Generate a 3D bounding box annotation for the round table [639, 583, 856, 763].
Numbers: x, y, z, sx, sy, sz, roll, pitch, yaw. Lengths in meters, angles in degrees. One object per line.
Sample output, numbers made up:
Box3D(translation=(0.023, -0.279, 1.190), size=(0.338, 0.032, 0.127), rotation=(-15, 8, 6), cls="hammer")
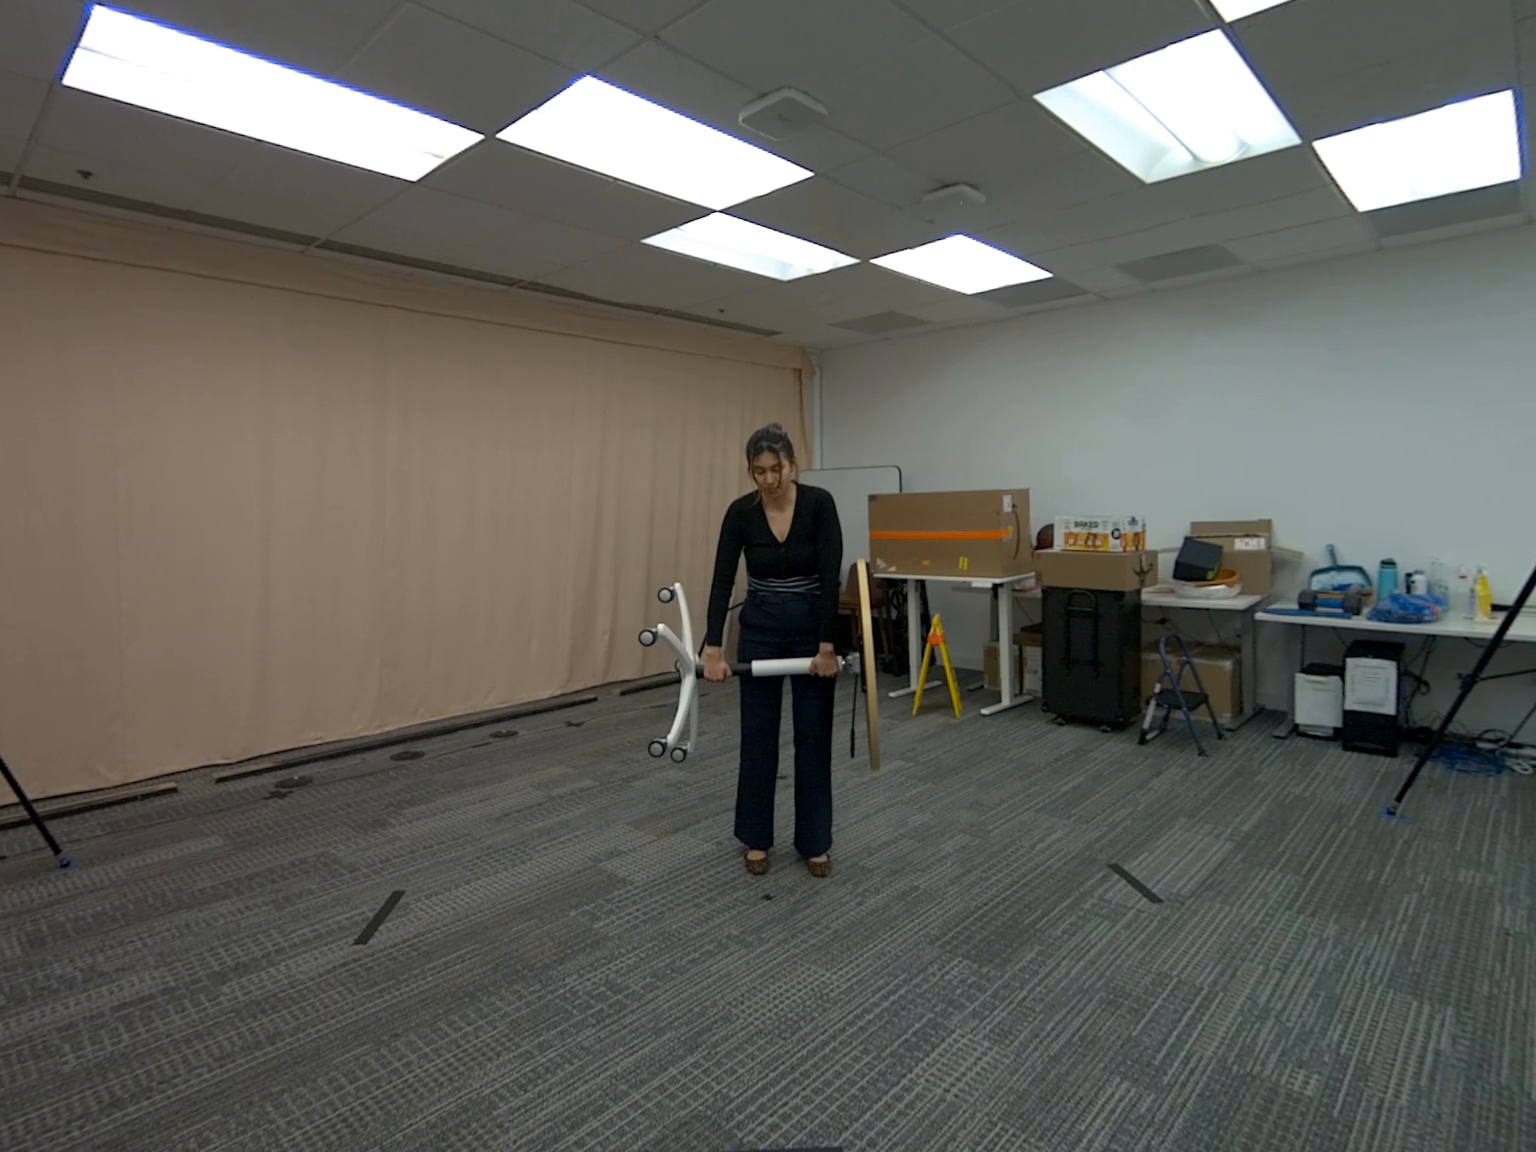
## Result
Box3D(translation=(-0.018, 0.357, 3.148), size=(0.800, 0.762, 0.760), rotation=(-5, 3, 6), cls="round table")
